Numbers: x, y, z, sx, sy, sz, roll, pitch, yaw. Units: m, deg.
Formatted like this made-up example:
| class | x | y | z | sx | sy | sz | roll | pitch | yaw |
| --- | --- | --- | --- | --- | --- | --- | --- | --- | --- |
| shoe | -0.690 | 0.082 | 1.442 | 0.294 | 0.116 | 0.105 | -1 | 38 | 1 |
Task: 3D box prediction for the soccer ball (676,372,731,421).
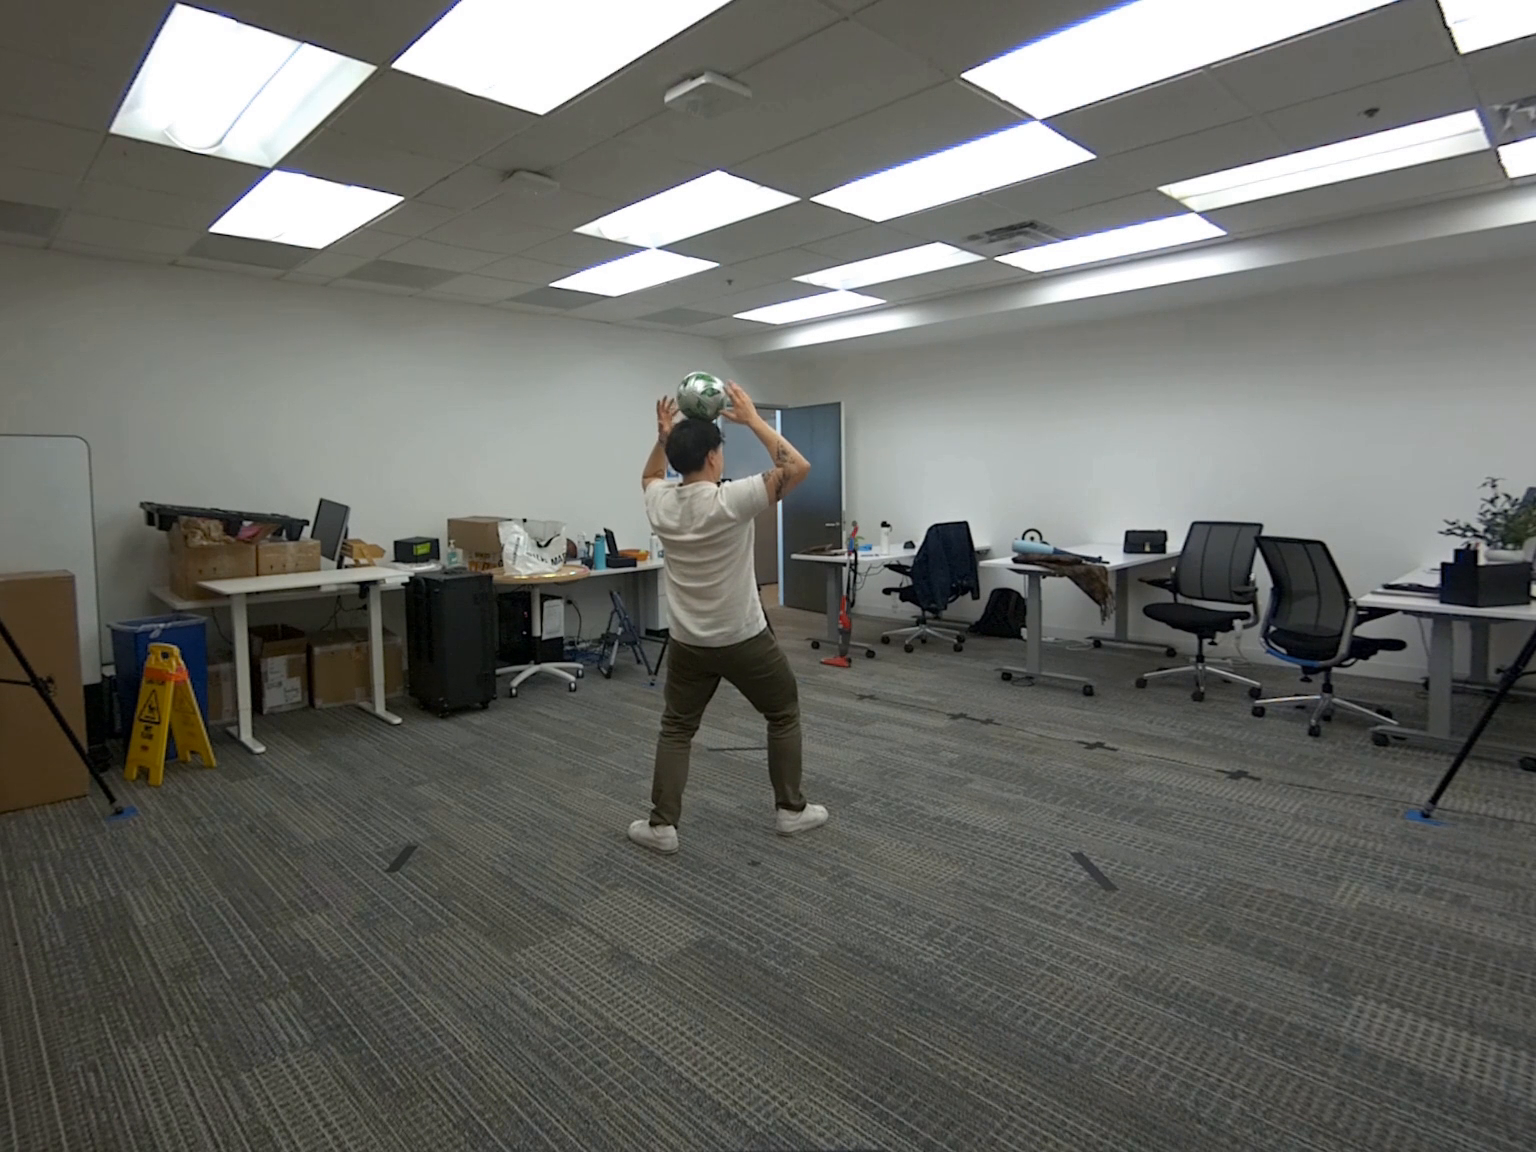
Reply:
| class | x | y | z | sx | sy | sz | roll | pitch | yaw |
| --- | --- | --- | --- | --- | --- | --- | --- | --- | --- |
| soccer ball | -0.242 | -0.656 | 3.156 | 0.187 | 0.187 | 0.188 | -1 | 5 | -2 |
